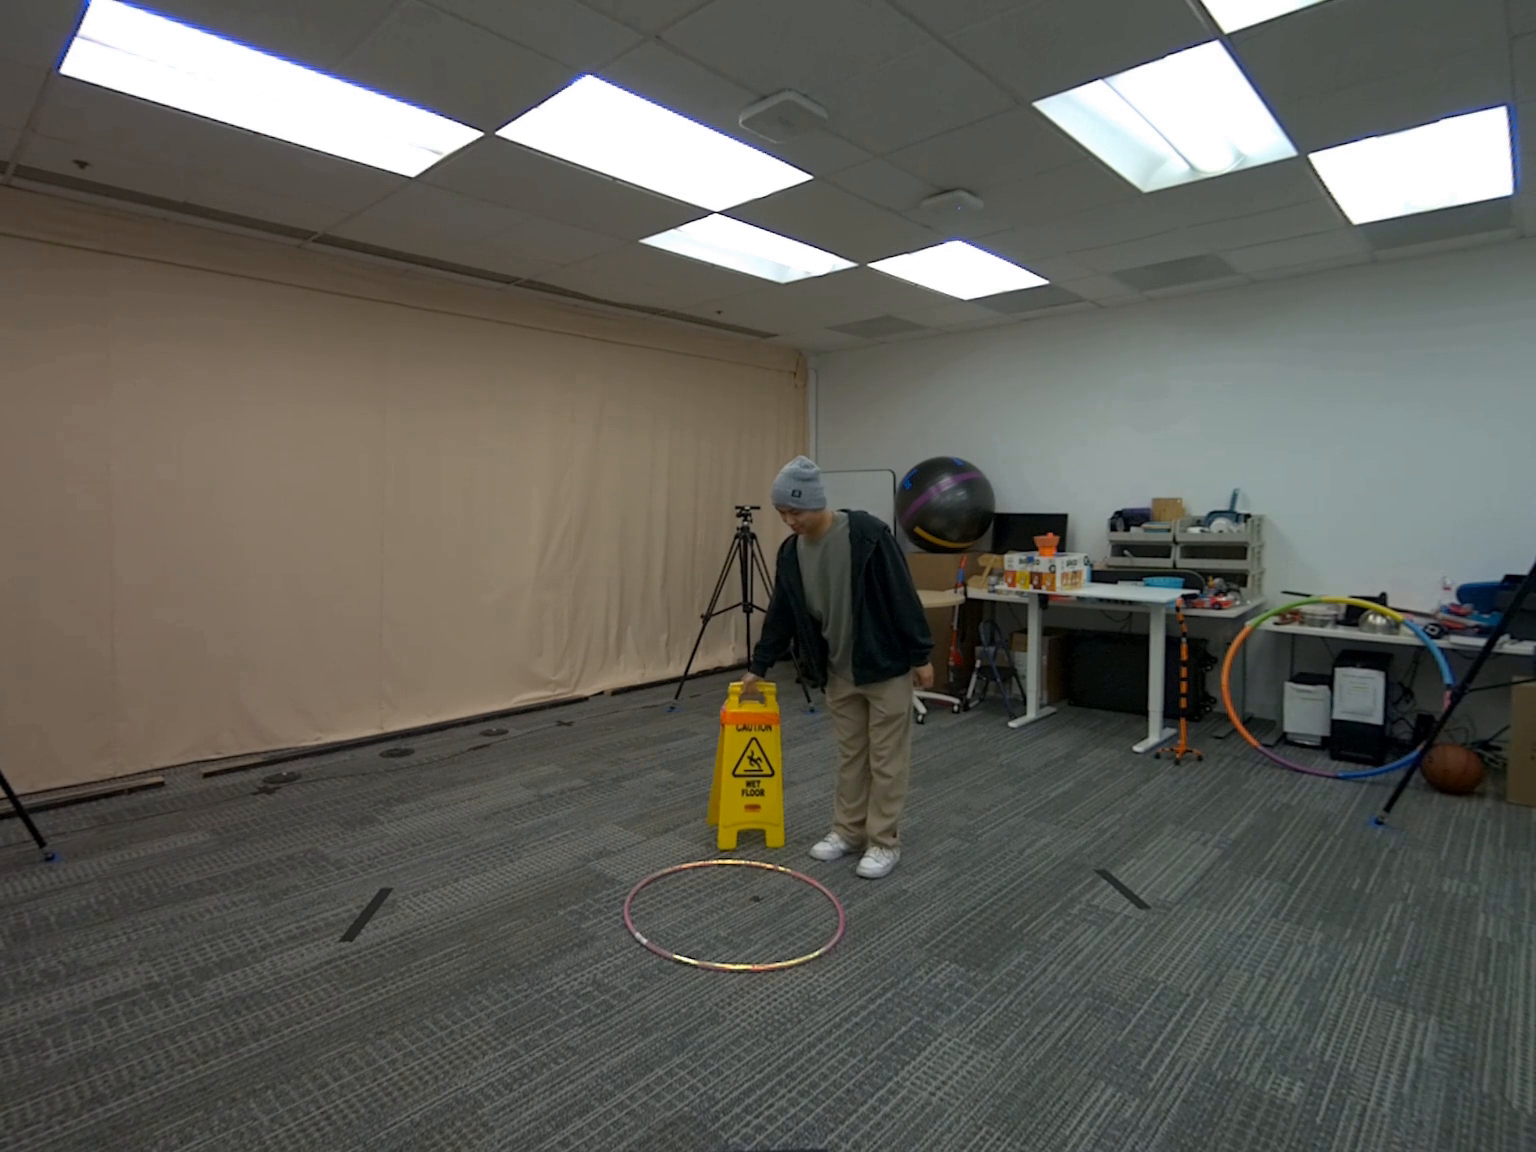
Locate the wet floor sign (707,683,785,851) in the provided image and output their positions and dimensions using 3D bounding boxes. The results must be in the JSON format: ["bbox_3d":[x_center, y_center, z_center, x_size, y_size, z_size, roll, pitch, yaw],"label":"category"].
[{"bbox_3d":[-0.074,0.754,3.499,0.279,0.644,0.294,0,5,-12],"label":"wet floor sign"}]
